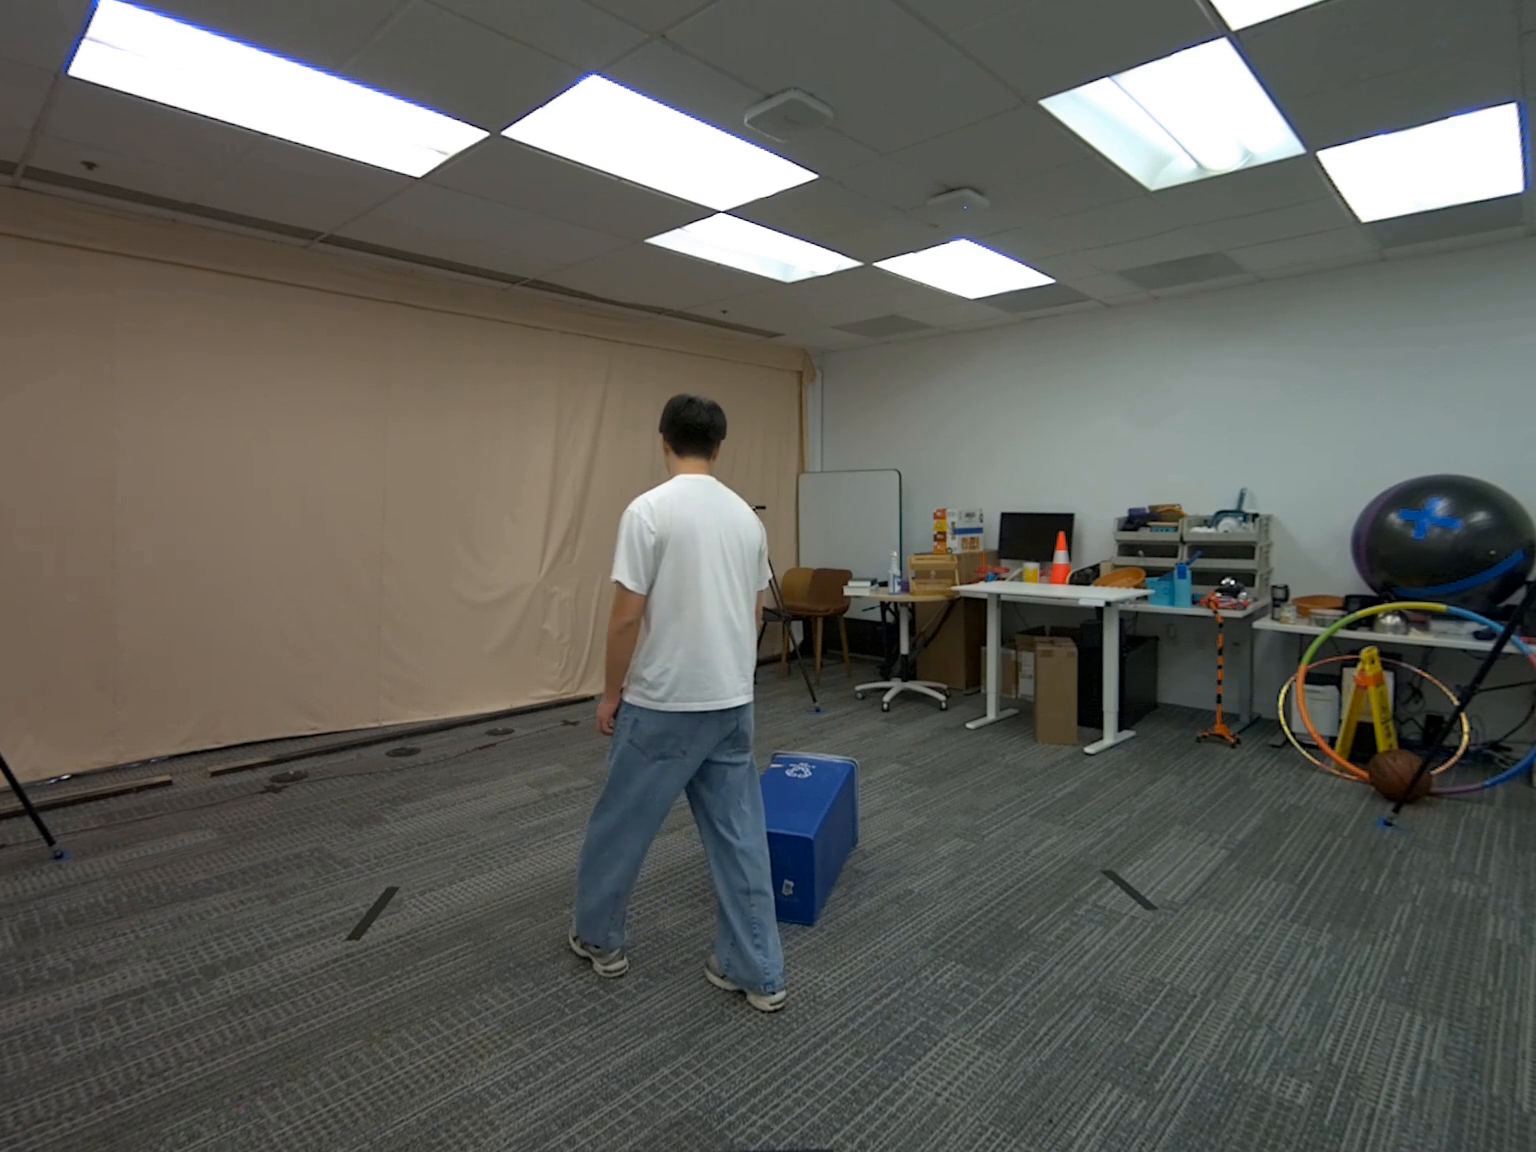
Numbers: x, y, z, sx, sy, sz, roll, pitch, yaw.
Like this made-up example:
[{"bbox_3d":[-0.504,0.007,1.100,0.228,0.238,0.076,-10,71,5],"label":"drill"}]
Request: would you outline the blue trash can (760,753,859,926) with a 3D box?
[{"bbox_3d":[0.110,0.959,3.145,0.381,0.376,0.704,1,8,16],"label":"blue trash can"}]
